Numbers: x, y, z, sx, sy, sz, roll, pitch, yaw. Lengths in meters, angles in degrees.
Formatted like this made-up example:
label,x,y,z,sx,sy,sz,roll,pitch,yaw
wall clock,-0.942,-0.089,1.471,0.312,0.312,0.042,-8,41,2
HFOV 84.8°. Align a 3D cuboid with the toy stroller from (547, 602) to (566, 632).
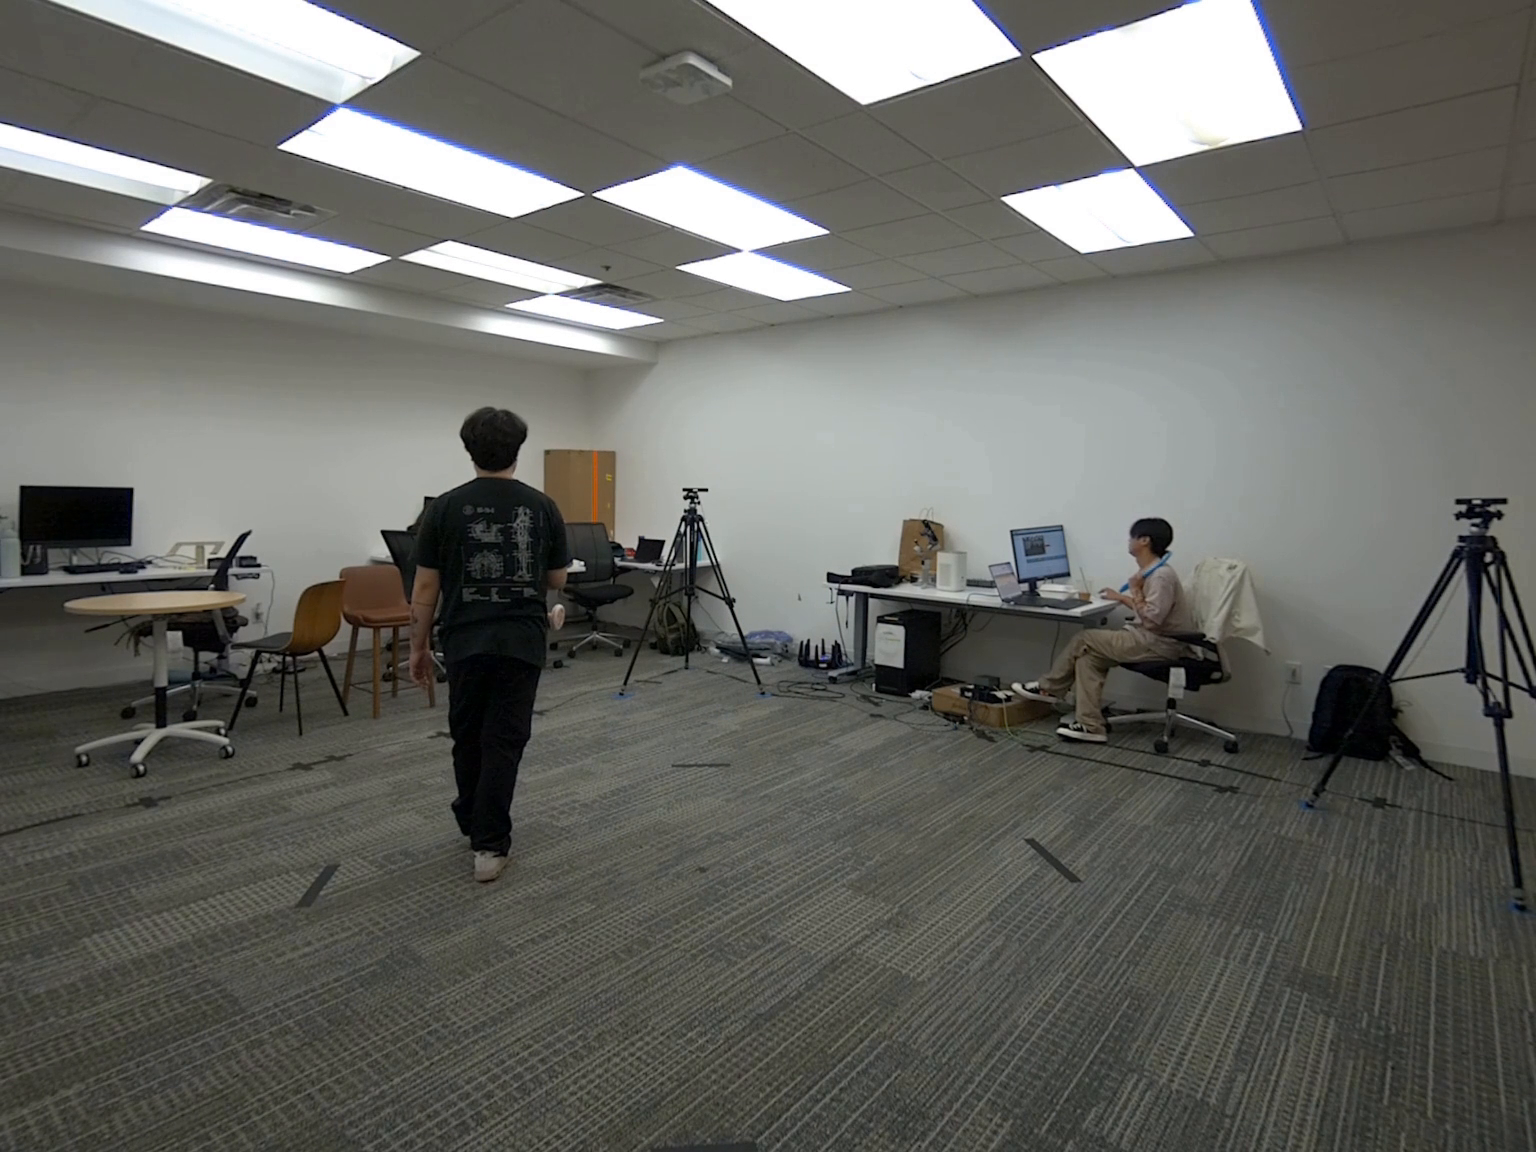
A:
label,x,y,z,sx,sy,sz,roll,pitch,yaw
toy stroller,-1.028,0.012,3.494,0.288,0.533,0.335,9,5,18
